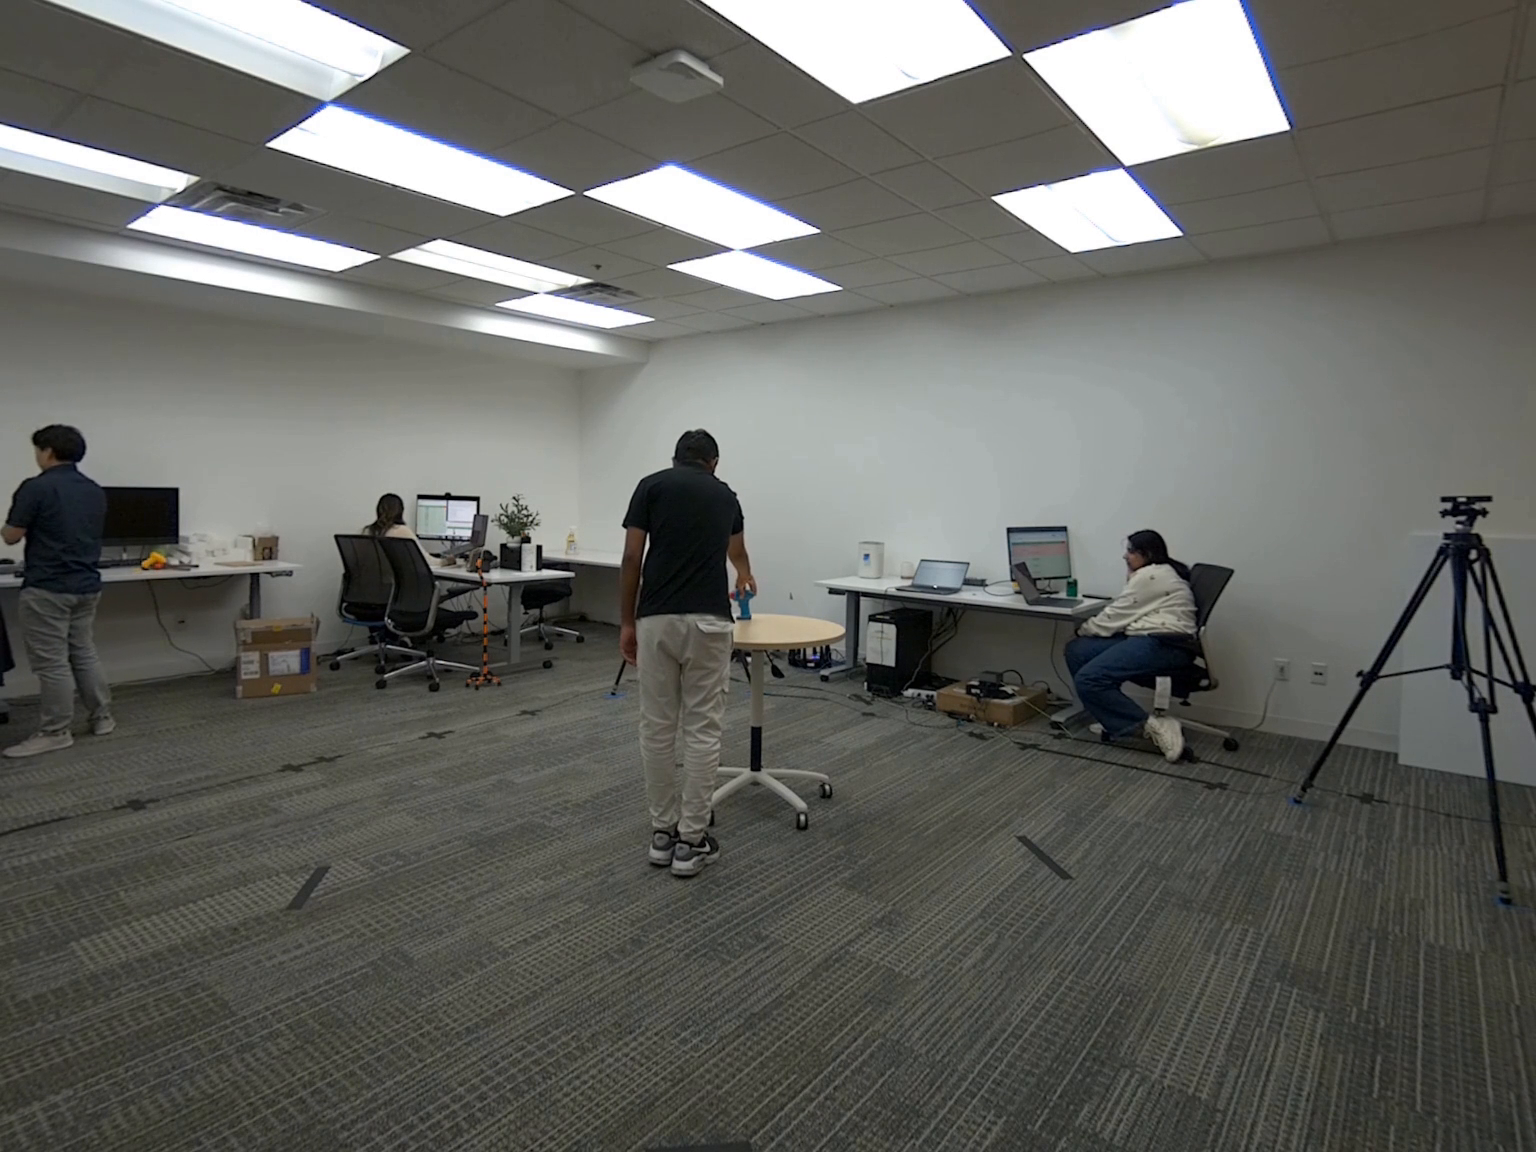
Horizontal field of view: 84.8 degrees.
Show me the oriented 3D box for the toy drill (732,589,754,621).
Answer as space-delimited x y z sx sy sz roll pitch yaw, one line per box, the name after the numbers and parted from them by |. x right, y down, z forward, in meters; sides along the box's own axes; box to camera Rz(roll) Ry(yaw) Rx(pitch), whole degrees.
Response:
-0.159 0.126 3.958 0.168 0.146 0.062 0 0 -8 | toy drill
